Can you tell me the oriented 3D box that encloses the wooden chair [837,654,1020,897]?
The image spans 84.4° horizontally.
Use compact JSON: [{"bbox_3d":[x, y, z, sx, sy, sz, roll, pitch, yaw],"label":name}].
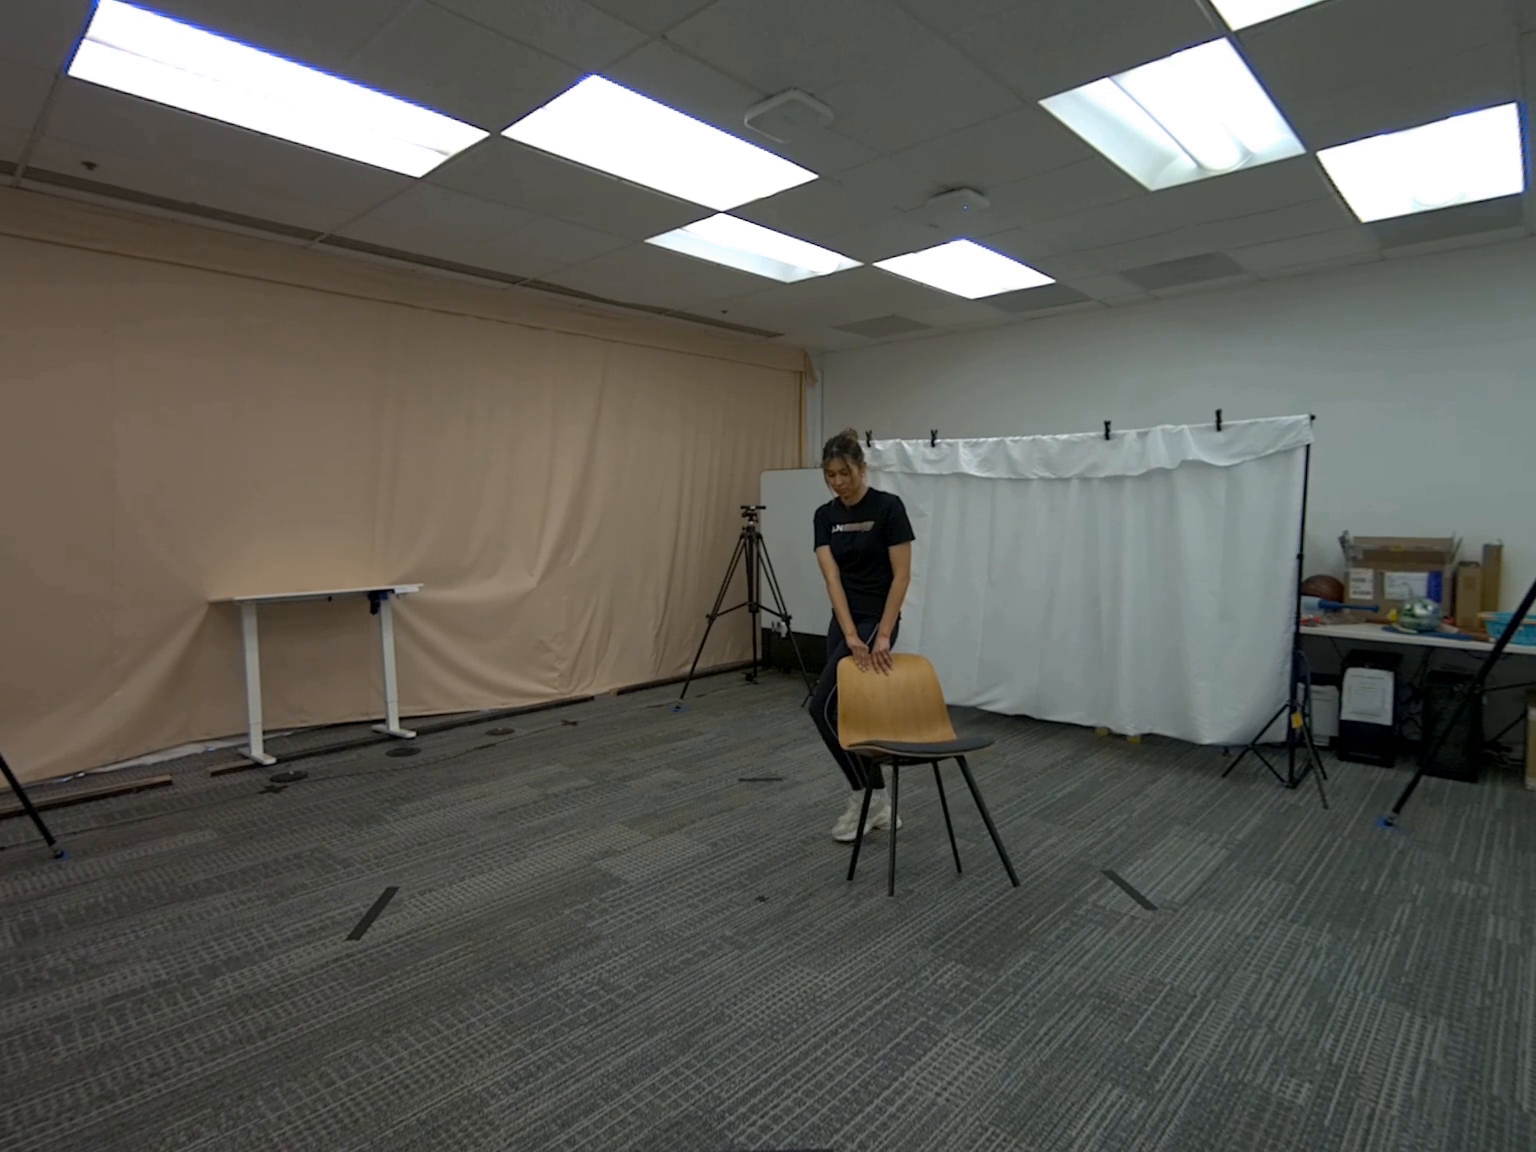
[{"bbox_3d":[0.535,0.659,3.033,0.473,0.888,0.523,-1,-18,-12],"label":"wooden chair"}]
